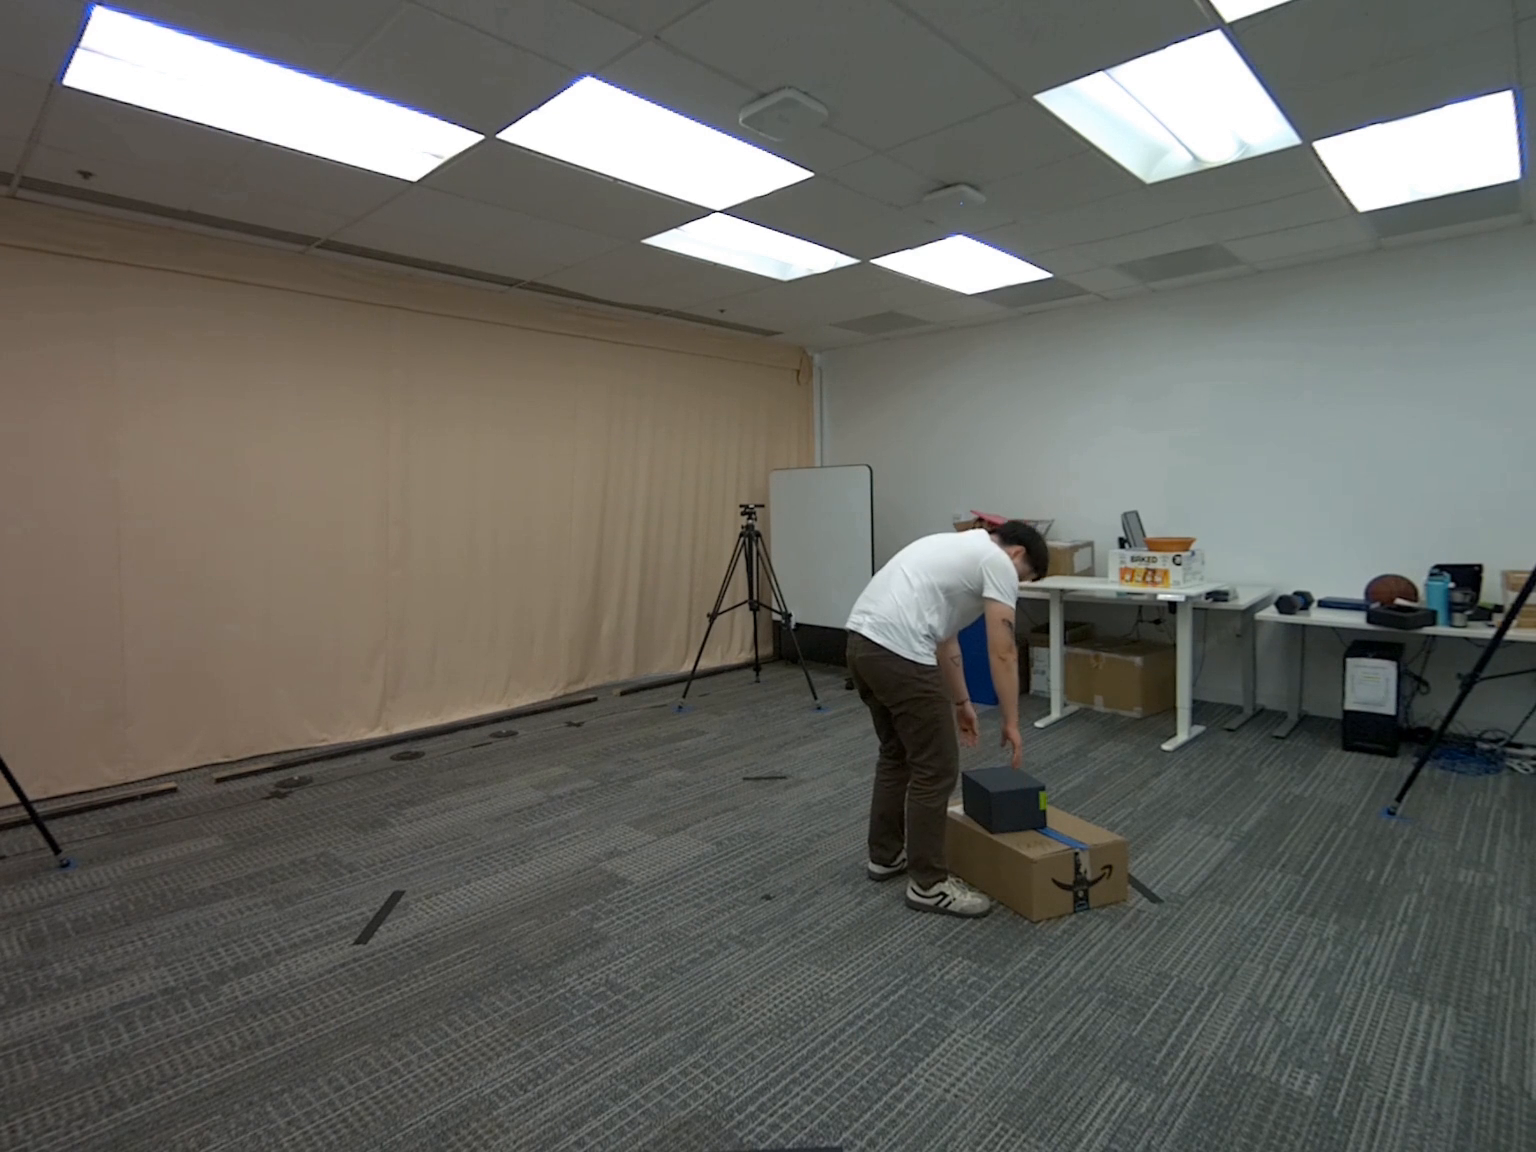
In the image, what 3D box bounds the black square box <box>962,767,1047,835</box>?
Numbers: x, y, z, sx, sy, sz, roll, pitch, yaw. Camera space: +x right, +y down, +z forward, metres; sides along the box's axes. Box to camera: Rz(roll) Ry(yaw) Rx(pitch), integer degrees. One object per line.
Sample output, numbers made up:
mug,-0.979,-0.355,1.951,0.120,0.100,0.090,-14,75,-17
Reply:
black square box,0.860,0.808,3.084,0.214,0.155,0.231,-3,6,-12
